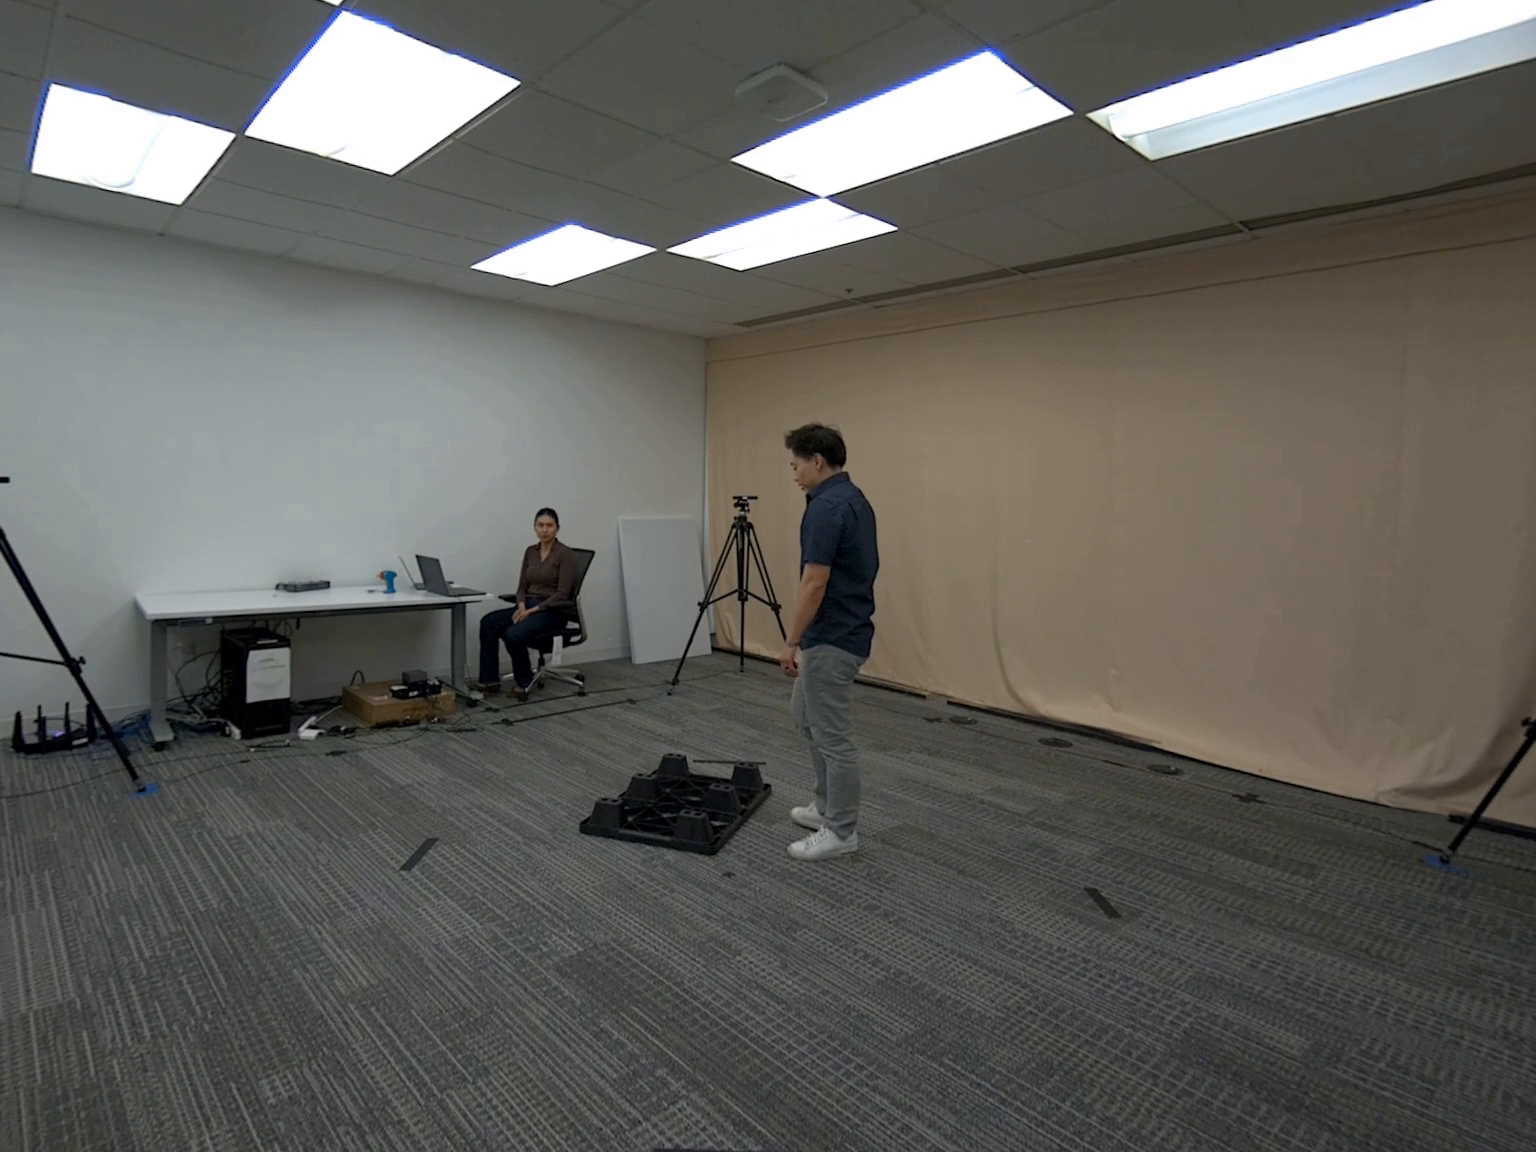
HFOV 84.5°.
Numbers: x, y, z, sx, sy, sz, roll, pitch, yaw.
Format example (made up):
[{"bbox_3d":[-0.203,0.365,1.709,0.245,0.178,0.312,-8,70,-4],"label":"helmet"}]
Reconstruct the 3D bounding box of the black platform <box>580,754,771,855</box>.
[{"bbox_3d":[-0.390,0.977,3.731,0.614,0.143,0.796,3,5,17],"label":"black platform"}]
